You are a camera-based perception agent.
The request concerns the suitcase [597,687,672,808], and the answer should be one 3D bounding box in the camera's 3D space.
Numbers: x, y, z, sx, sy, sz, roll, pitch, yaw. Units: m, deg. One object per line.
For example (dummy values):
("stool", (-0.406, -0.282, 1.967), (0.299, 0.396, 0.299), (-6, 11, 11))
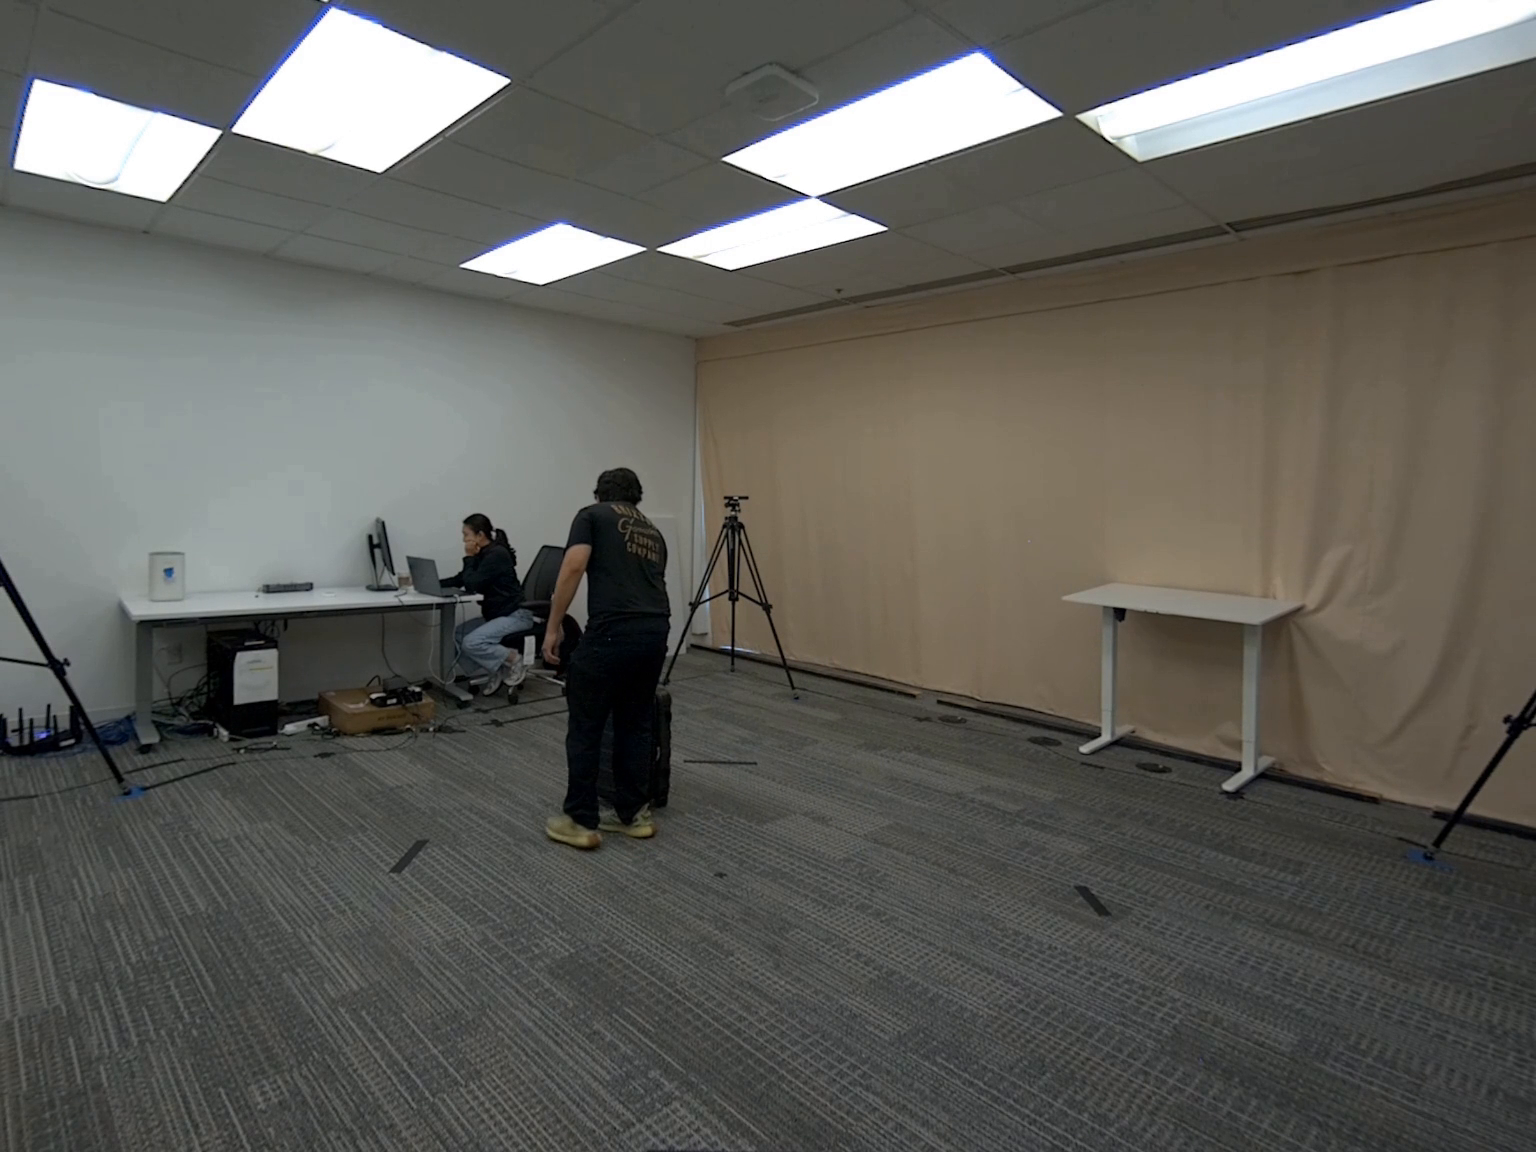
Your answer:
("suitcase", (-0.635, 0.759, 3.799), (0.385, 0.548, 0.242), (6, 3, 38))
